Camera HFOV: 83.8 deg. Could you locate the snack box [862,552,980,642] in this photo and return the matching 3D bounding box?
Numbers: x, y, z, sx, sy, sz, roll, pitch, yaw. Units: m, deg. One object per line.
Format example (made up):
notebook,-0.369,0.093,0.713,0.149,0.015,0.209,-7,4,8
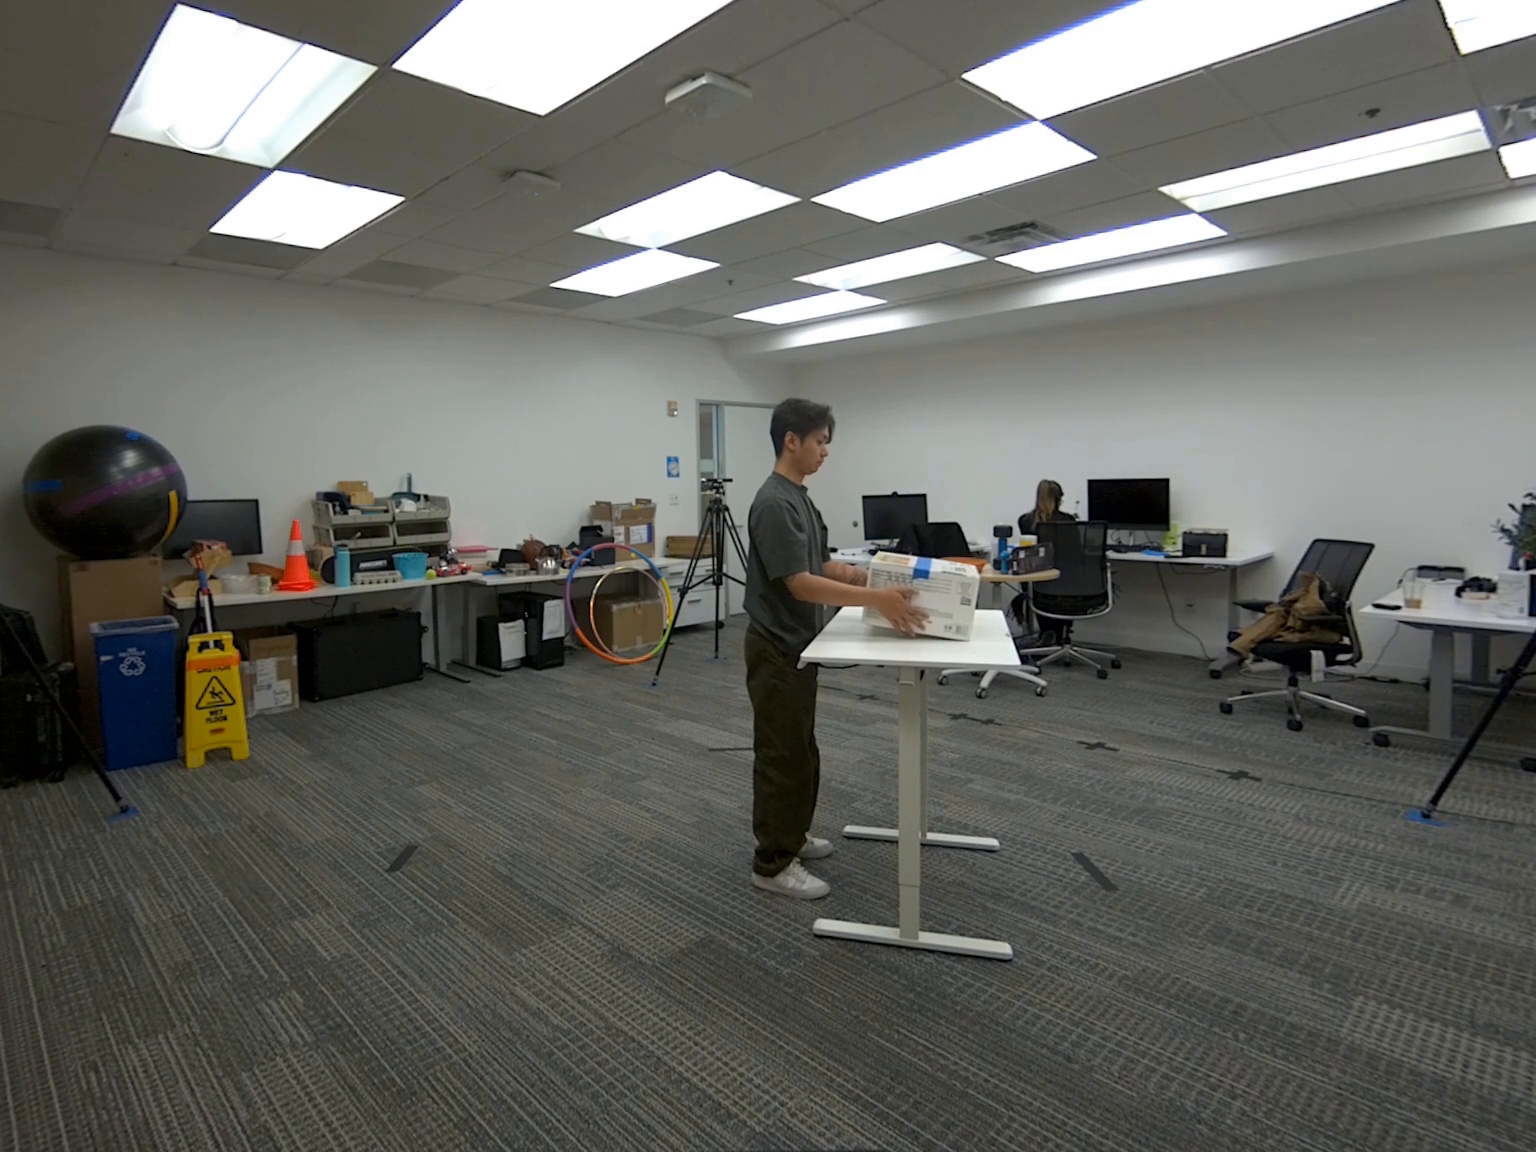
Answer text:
snack box,0.511,0.058,2.861,0.345,0.204,0.402,8,8,12
